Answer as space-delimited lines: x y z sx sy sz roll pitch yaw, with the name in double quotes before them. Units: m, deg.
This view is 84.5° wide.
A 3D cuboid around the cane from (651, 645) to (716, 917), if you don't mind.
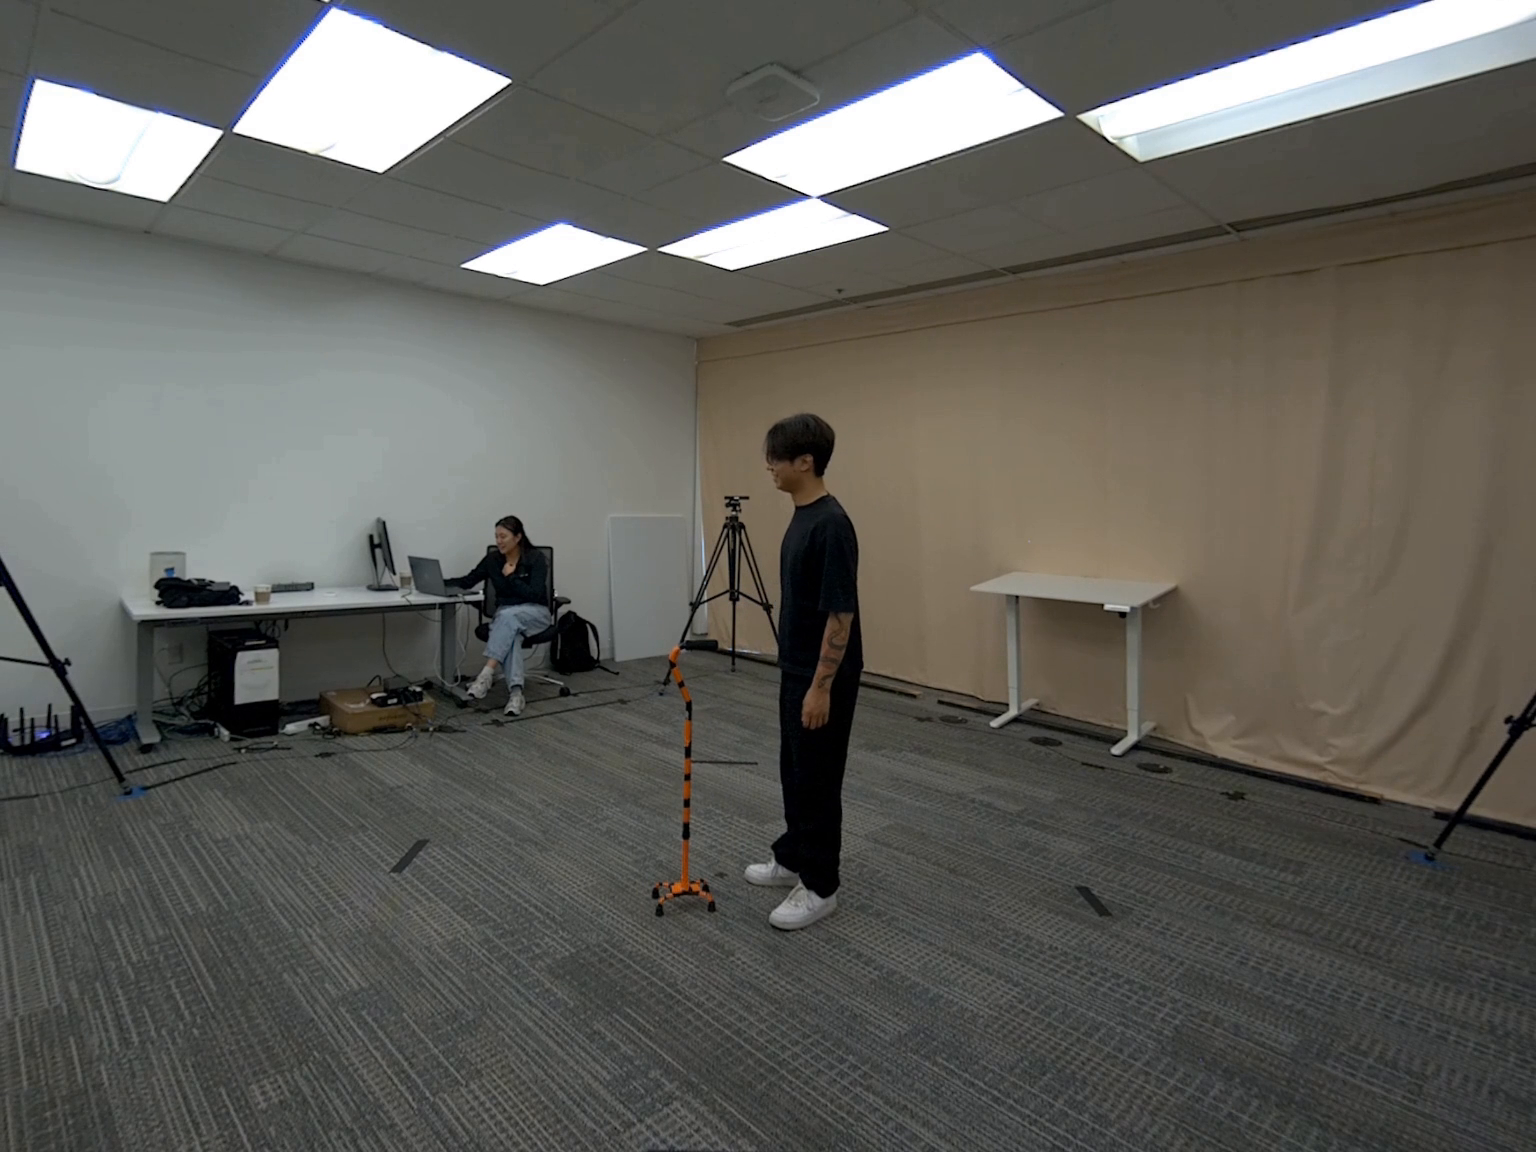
"cane" -0.278 0.665 2.853 0.204 0.906 0.154 1 3 -15
